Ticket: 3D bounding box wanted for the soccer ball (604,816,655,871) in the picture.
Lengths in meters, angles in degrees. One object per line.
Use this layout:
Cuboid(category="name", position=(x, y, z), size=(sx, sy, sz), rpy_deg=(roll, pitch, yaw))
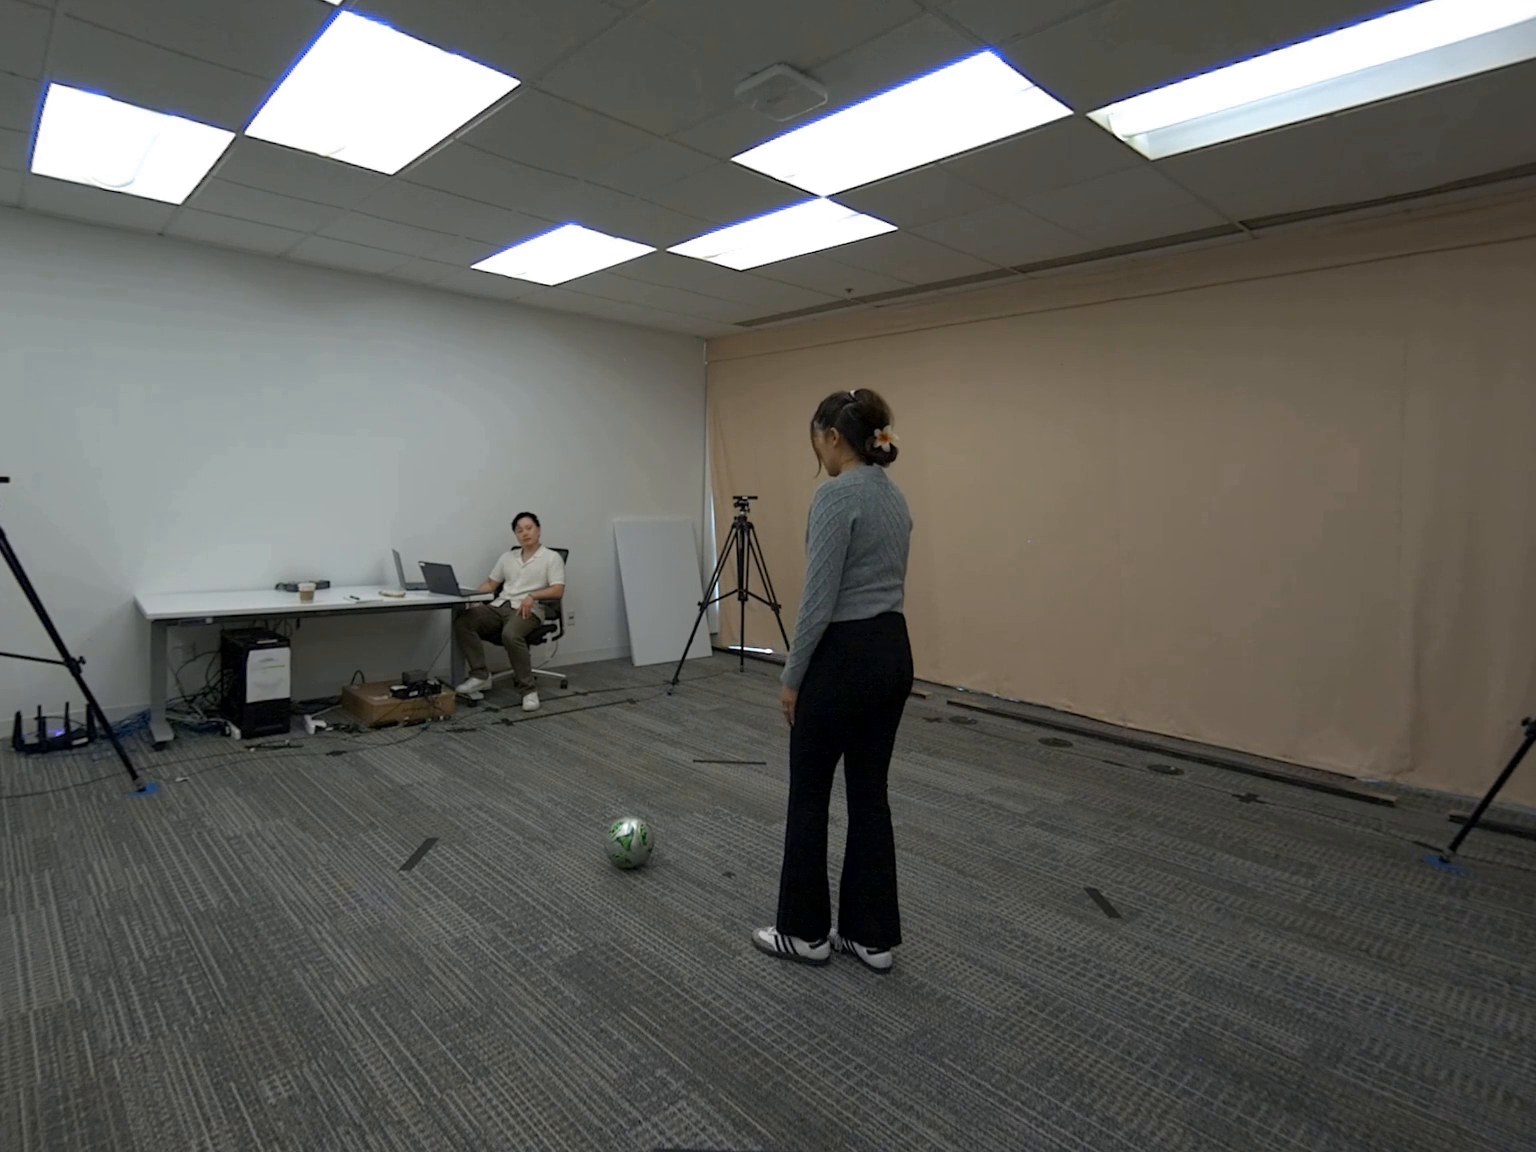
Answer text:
Cuboid(category="soccer ball", position=(-0.531, 0.995, 3.148), size=(0.187, 0.187, 0.188), rpy_deg=(1, 4, -1))
